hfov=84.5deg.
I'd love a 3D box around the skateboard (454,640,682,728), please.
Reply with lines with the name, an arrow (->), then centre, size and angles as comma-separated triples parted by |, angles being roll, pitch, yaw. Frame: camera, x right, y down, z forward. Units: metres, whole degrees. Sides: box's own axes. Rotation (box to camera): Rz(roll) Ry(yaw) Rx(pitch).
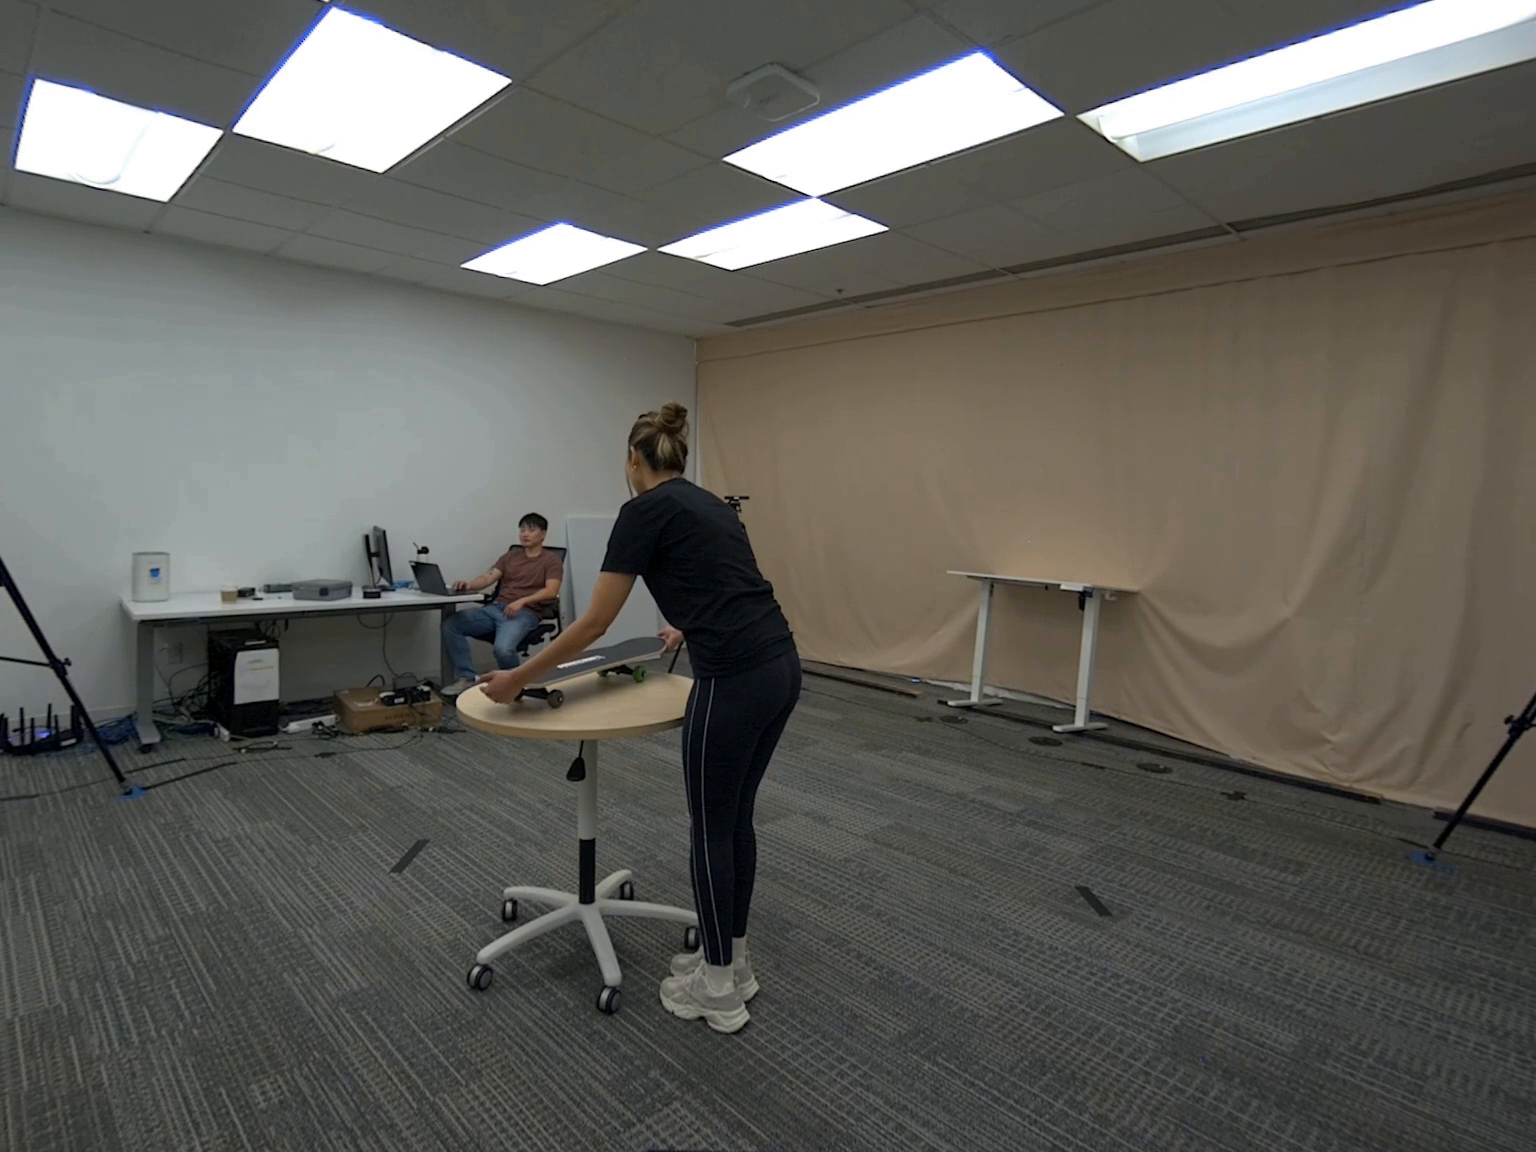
skateboard -> -0.575, 0.308, 2.583 | 0.198, 0.110, 0.770 | 4, 5, 31
